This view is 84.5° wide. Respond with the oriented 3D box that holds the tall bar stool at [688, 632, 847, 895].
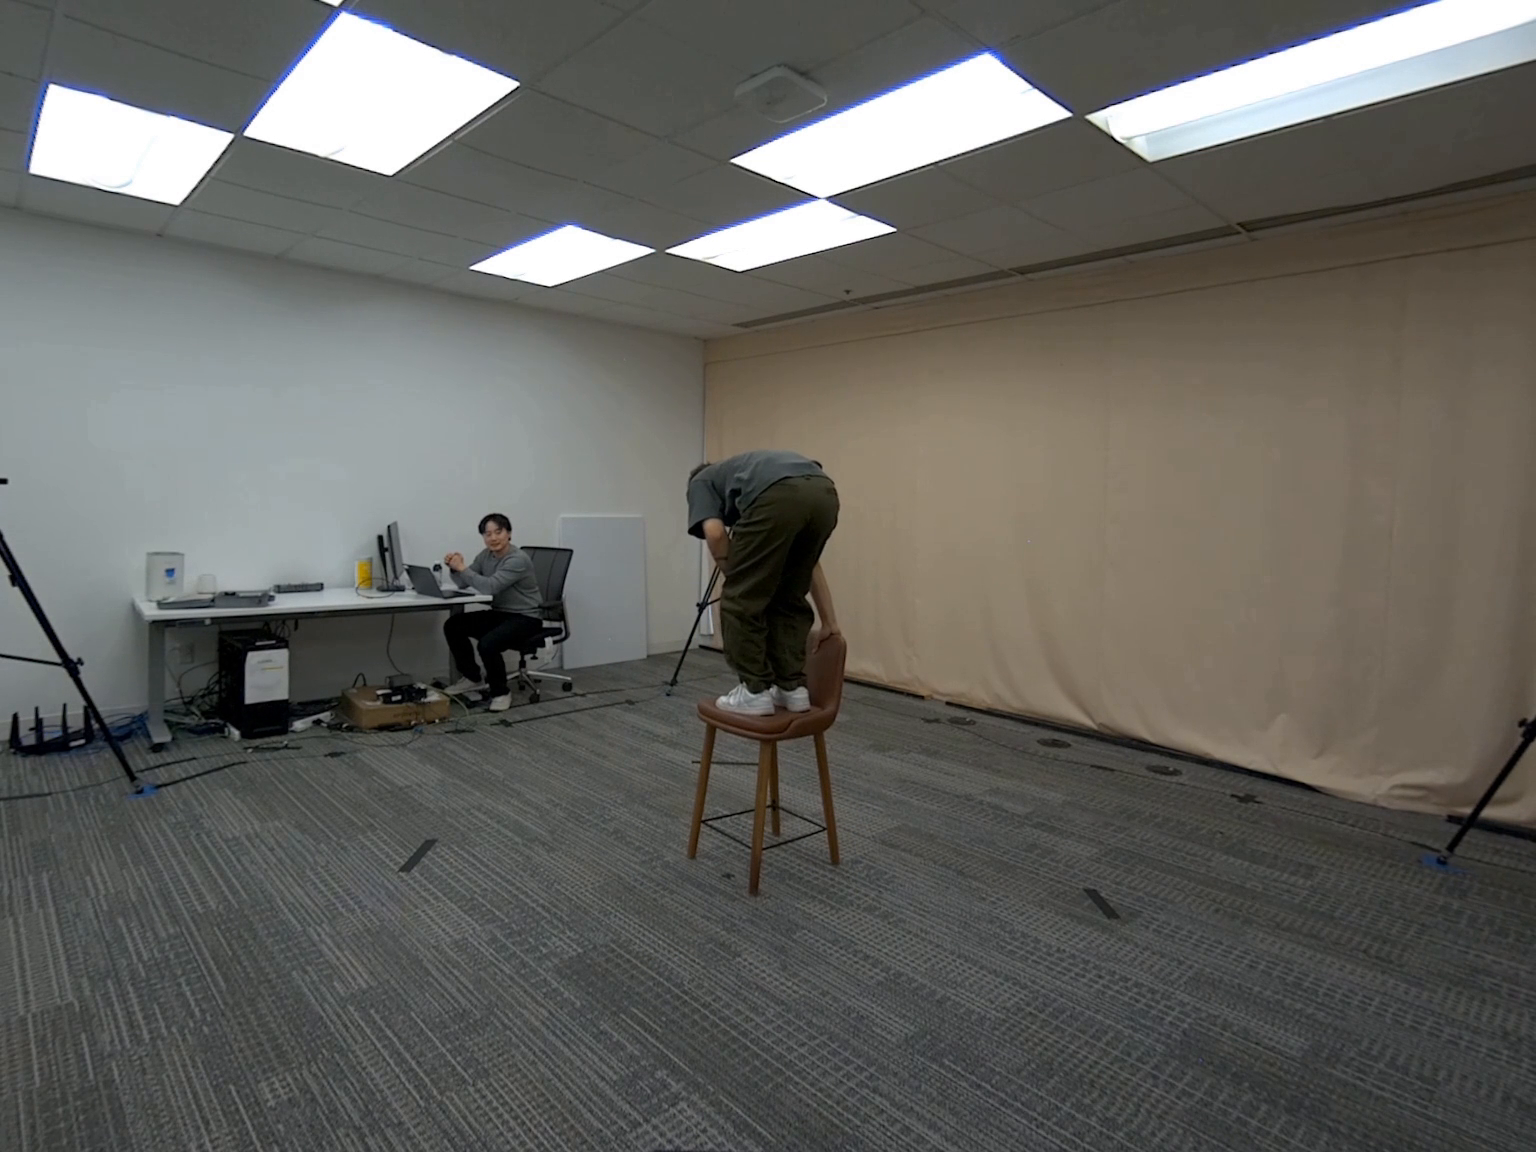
[{"bbox_3d":[-0.001,0.663,3.220,0.456,0.888,0.468,1,3,-39],"label":"tall bar stool"}]
